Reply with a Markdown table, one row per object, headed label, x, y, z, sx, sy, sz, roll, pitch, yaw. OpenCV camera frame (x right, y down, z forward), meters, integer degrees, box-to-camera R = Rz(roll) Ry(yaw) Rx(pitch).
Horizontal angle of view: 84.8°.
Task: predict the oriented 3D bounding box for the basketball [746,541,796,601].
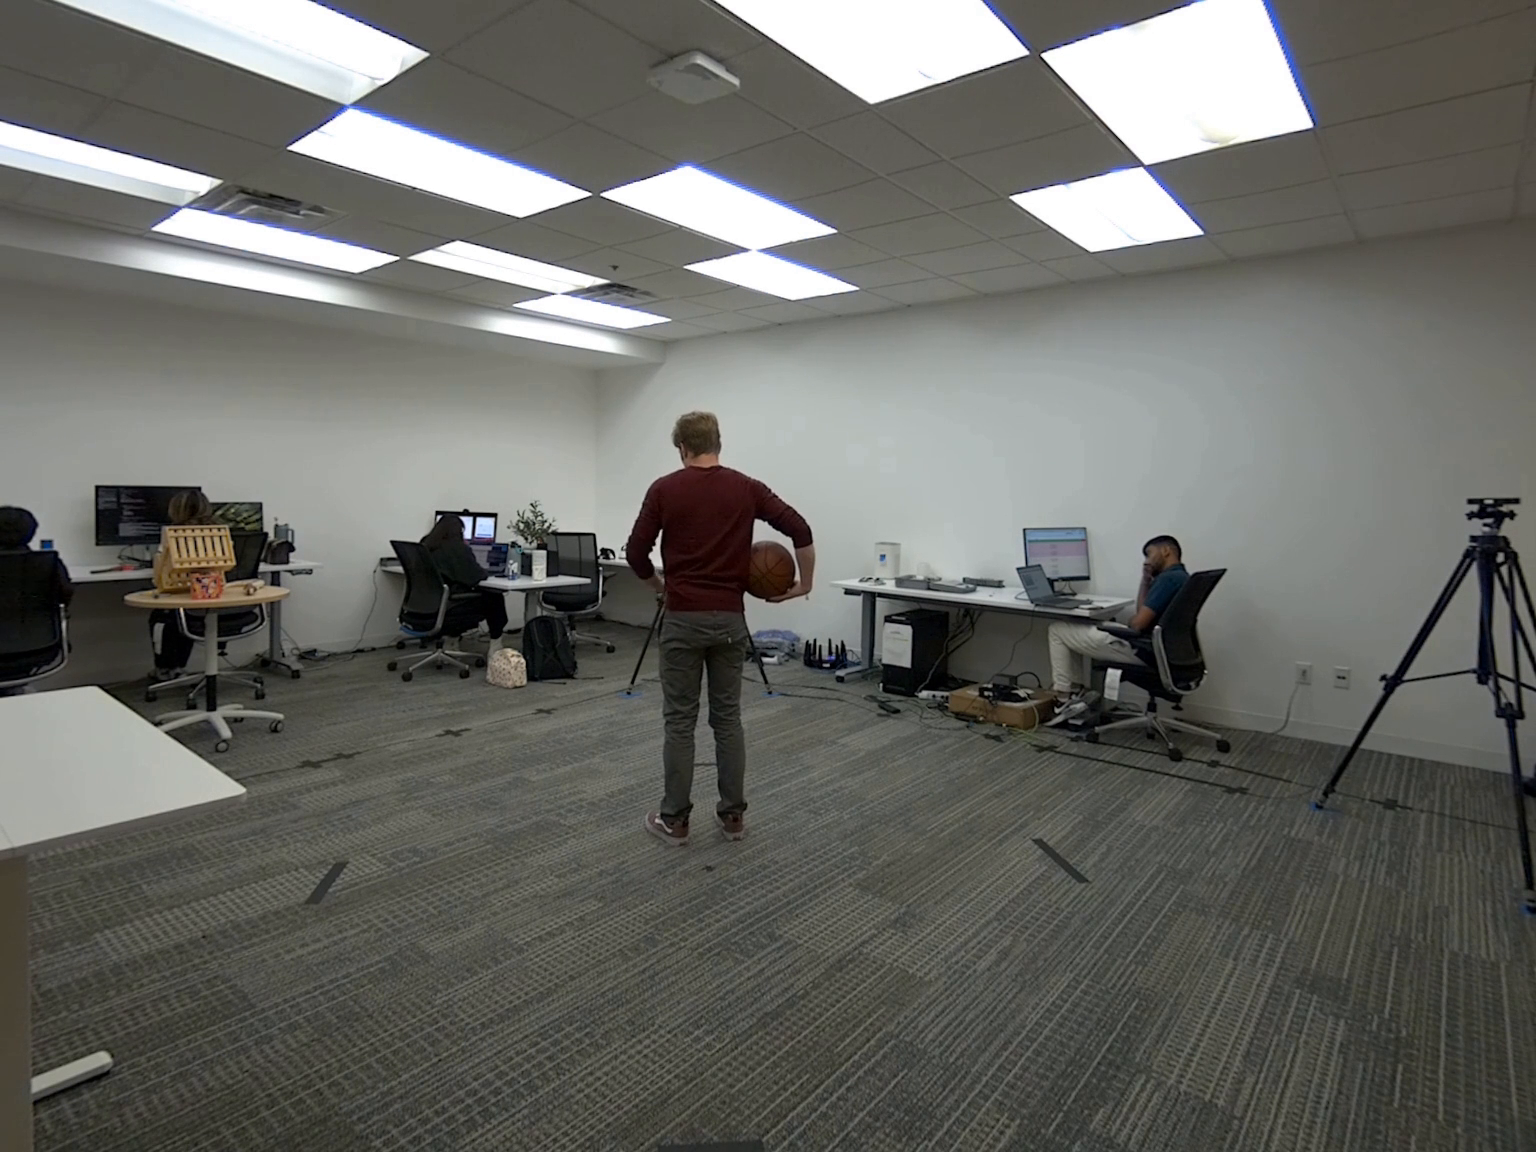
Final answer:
| label | x | y | z | sx | sy | sz | roll | pitch | yaw |
| --- | --- | --- | --- | --- | --- | --- | --- | --- | --- |
| basketball | -0.022 | -0.026 | 3.446 | 0.235 | 0.235 | 0.237 | 1 | 4 | -2 |
